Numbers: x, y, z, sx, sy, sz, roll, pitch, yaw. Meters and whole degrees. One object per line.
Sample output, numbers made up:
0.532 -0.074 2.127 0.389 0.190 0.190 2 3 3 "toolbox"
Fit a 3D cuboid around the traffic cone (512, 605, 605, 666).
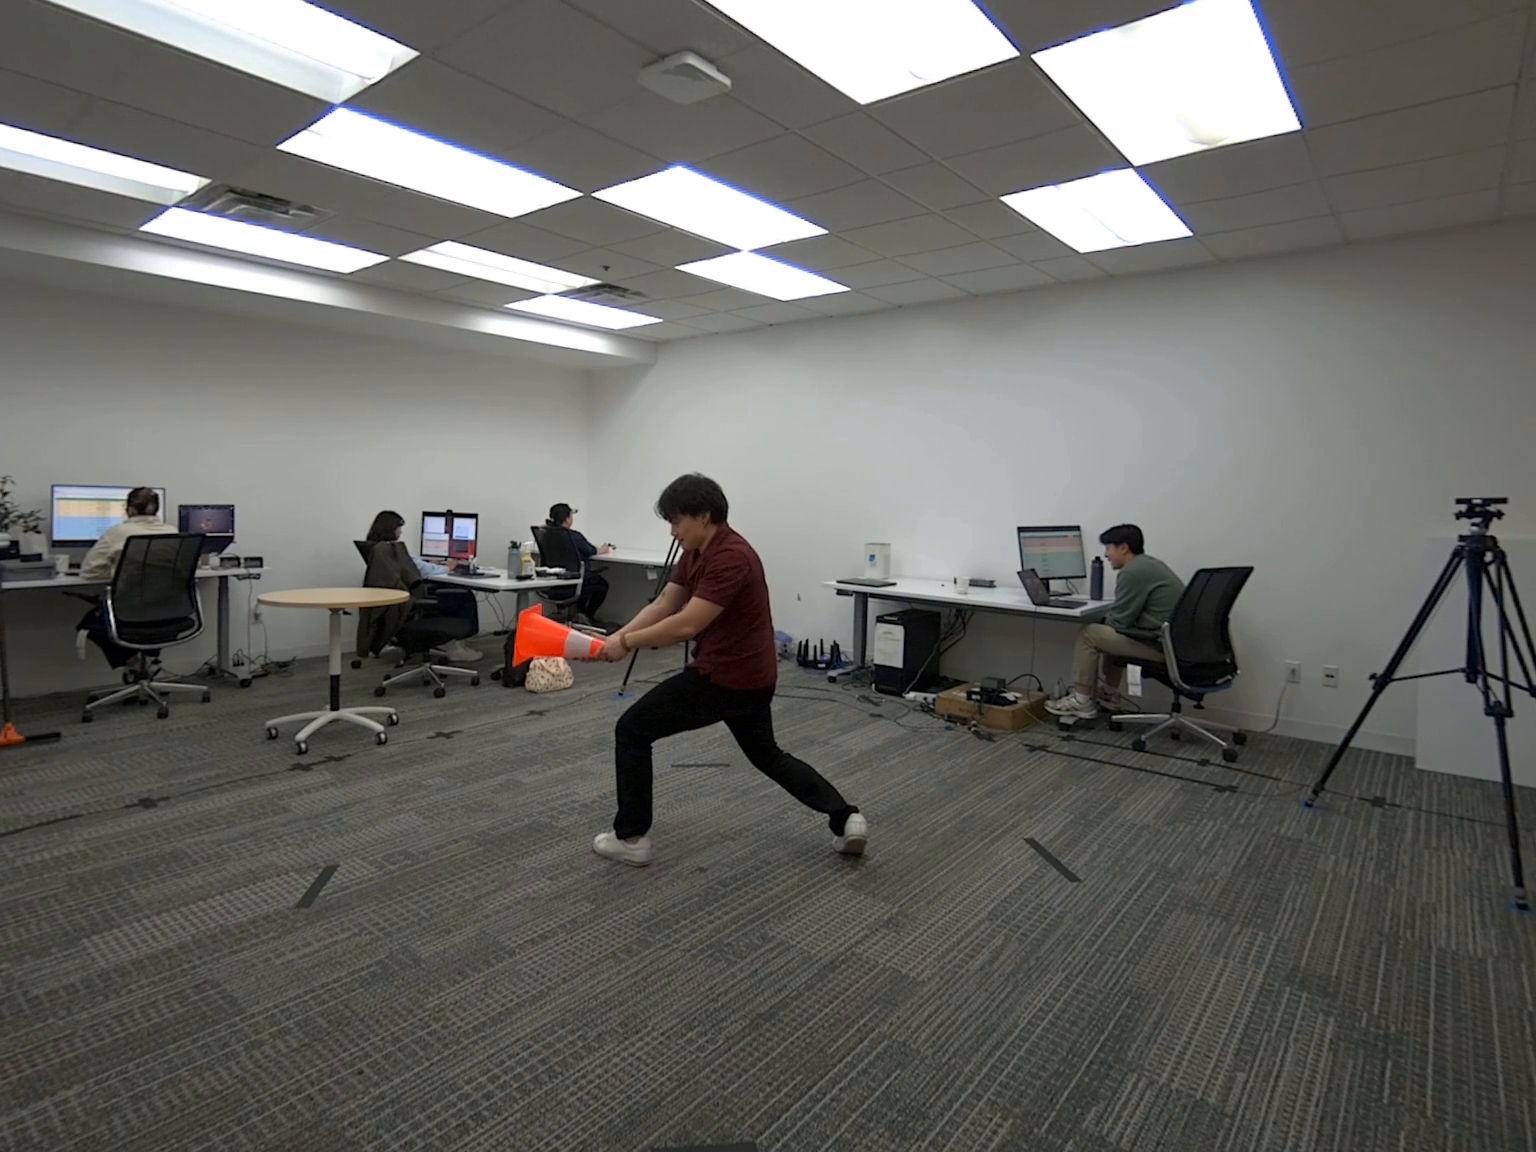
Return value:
-0.698 0.240 3.066 0.387 0.202 0.204 8 15 6 "traffic cone"
